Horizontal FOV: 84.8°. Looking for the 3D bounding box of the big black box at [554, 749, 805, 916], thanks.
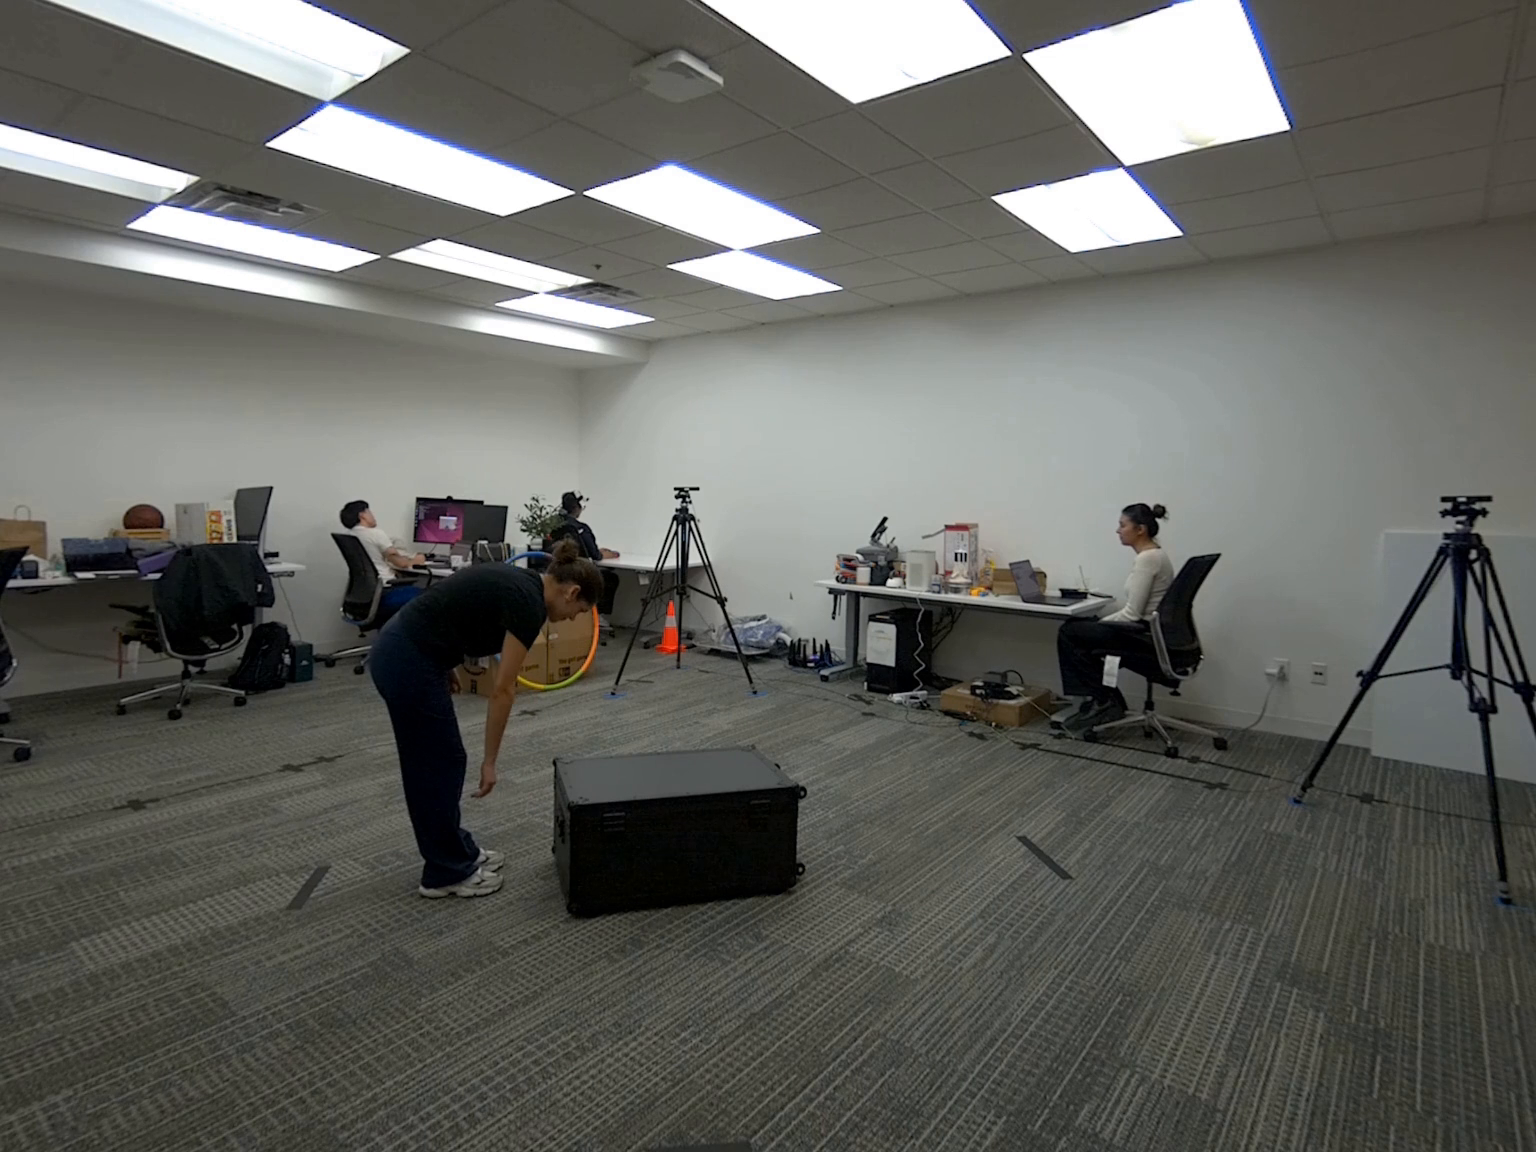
[{"bbox_3d":[-0.303,0.877,3.056,0.846,0.395,0.533,-1,5,-18],"label":"big black box"}]
